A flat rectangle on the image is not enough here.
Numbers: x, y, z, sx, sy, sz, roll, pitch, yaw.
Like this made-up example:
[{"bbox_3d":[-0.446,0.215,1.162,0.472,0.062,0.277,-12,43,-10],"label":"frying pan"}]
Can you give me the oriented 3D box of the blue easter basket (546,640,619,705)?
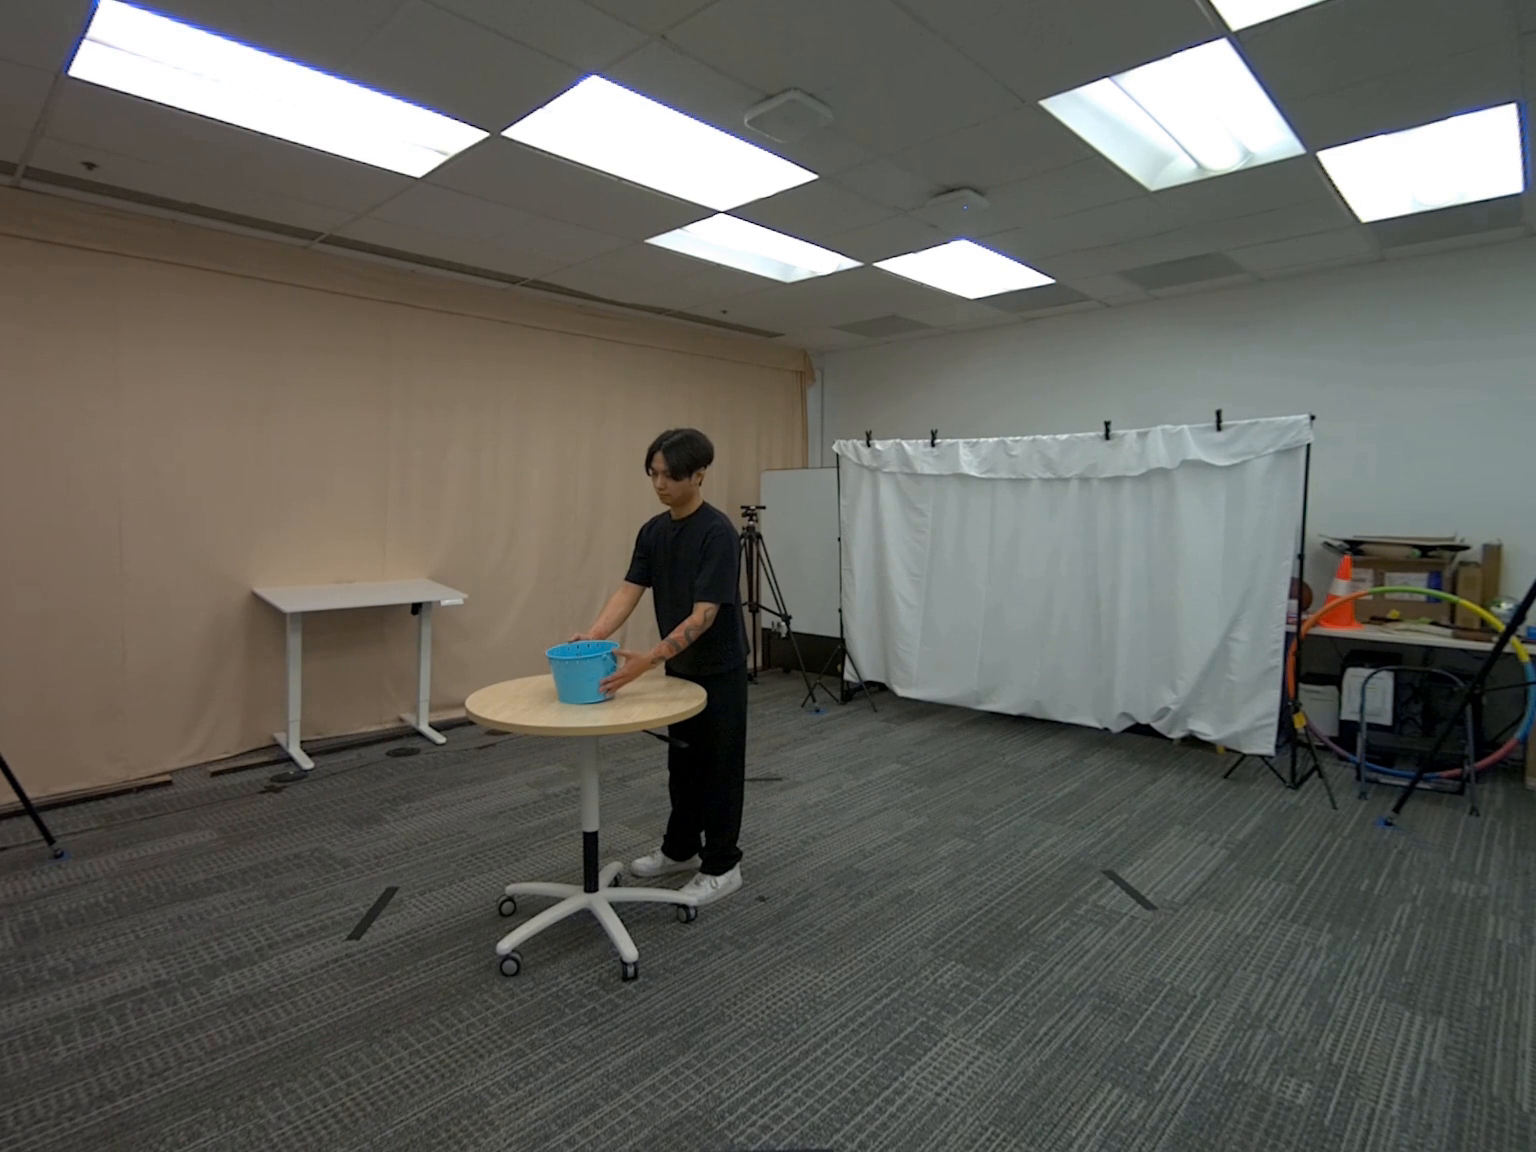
[{"bbox_3d":[-0.583,0.308,2.663,0.243,0.155,0.245,-4,8,-1],"label":"blue easter basket"}]
